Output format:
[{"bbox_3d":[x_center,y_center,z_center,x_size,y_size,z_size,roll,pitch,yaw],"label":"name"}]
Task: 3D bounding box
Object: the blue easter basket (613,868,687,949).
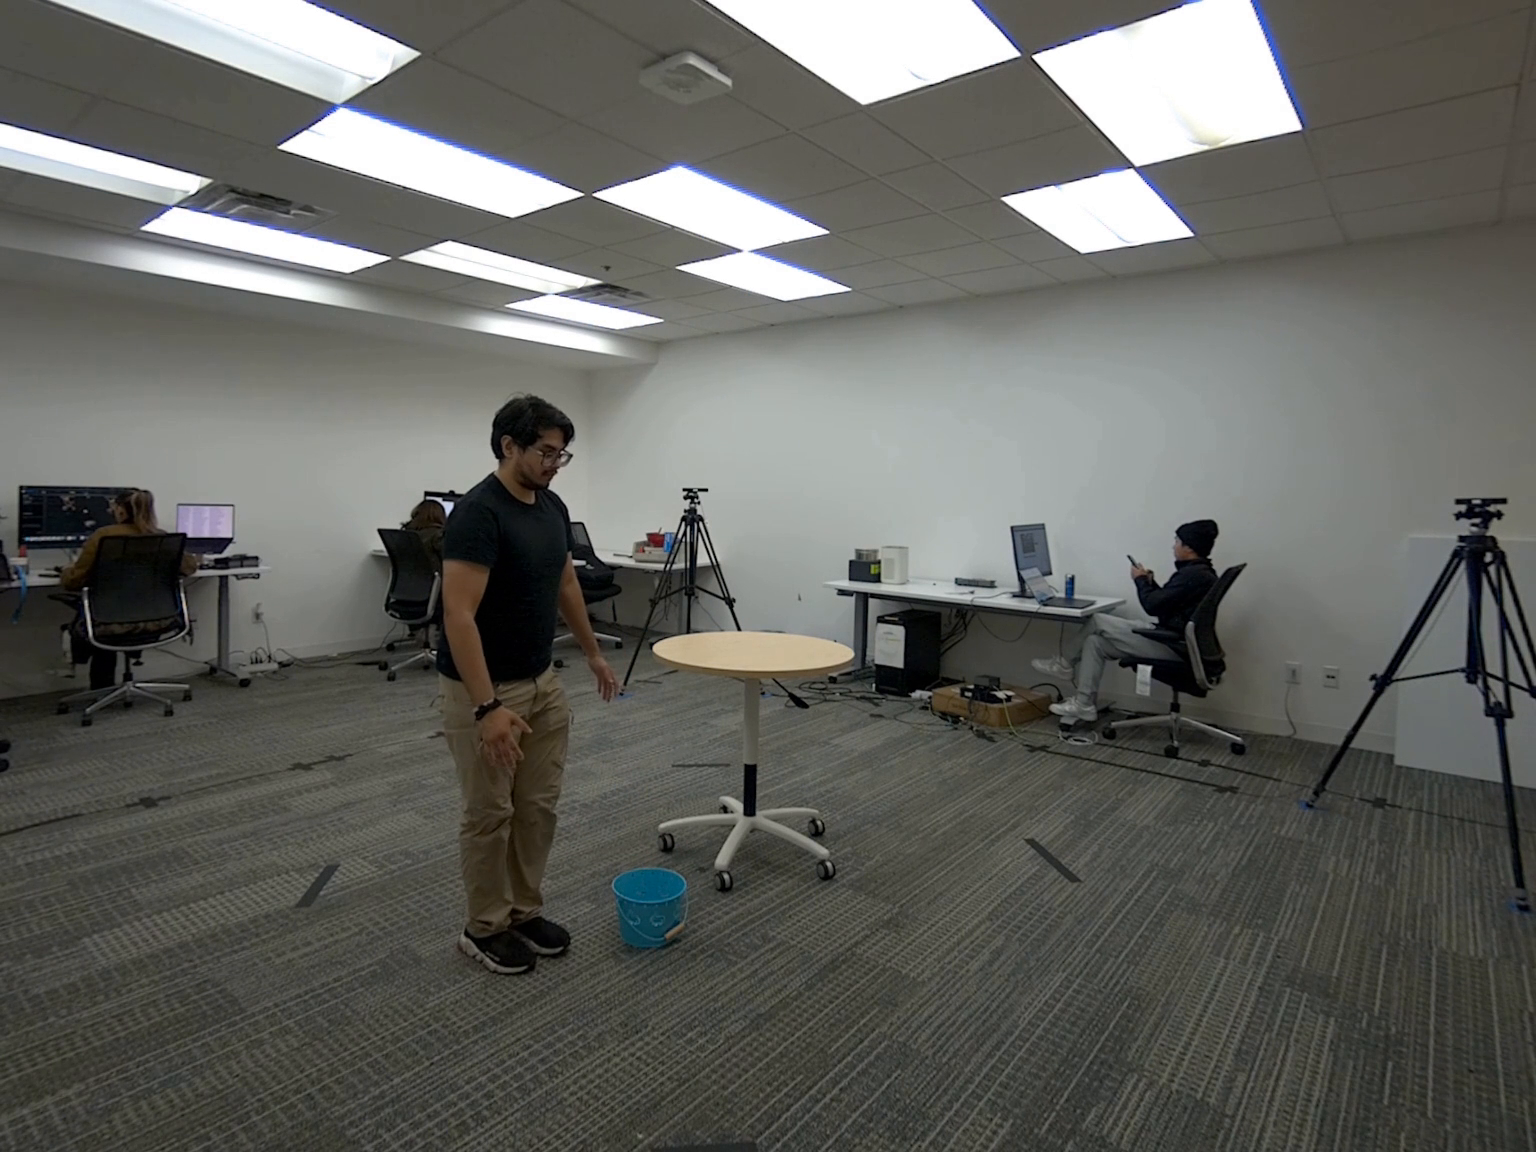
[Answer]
[{"bbox_3d":[-0.379,1.034,2.647,0.243,0.155,0.245,0,4,-2],"label":"blue easter basket"}]
